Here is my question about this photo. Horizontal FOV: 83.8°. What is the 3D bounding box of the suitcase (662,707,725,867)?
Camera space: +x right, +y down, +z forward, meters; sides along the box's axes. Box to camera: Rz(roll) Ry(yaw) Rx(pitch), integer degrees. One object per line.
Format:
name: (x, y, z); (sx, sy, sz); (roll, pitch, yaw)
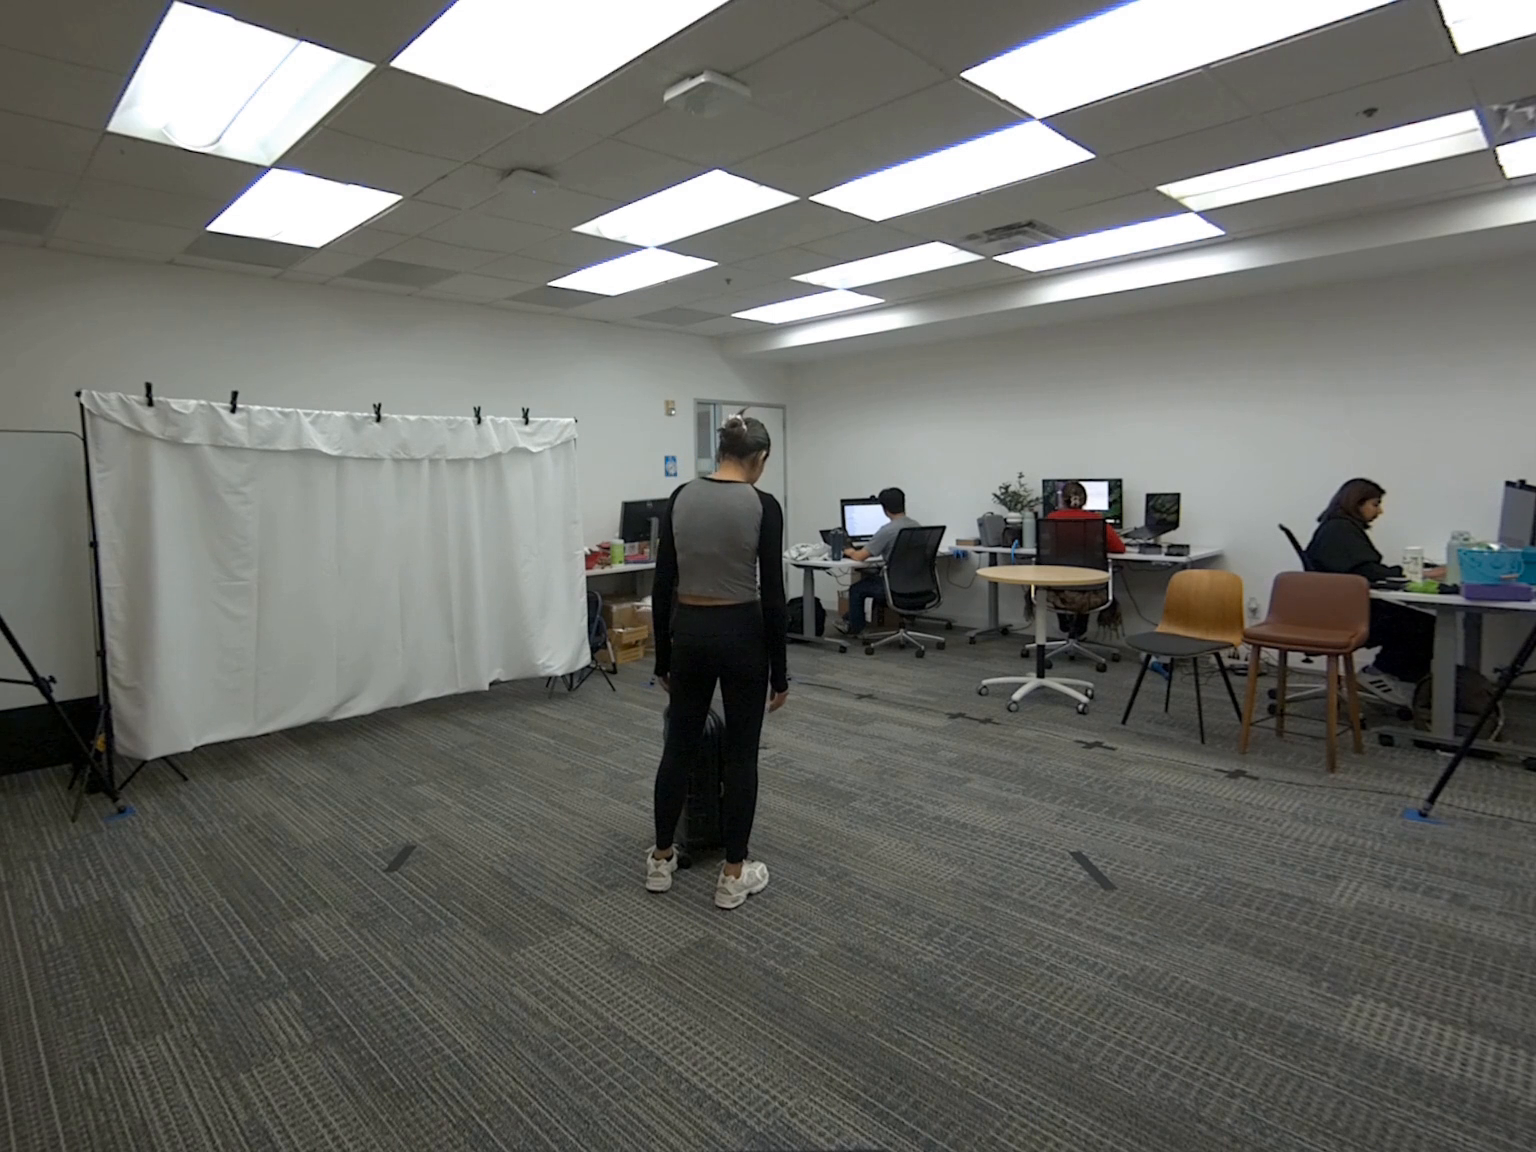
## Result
suitcase: (-0.240, 0.751, 3.241); (0.244, 0.547, 0.383); (-2, 5, -21)
